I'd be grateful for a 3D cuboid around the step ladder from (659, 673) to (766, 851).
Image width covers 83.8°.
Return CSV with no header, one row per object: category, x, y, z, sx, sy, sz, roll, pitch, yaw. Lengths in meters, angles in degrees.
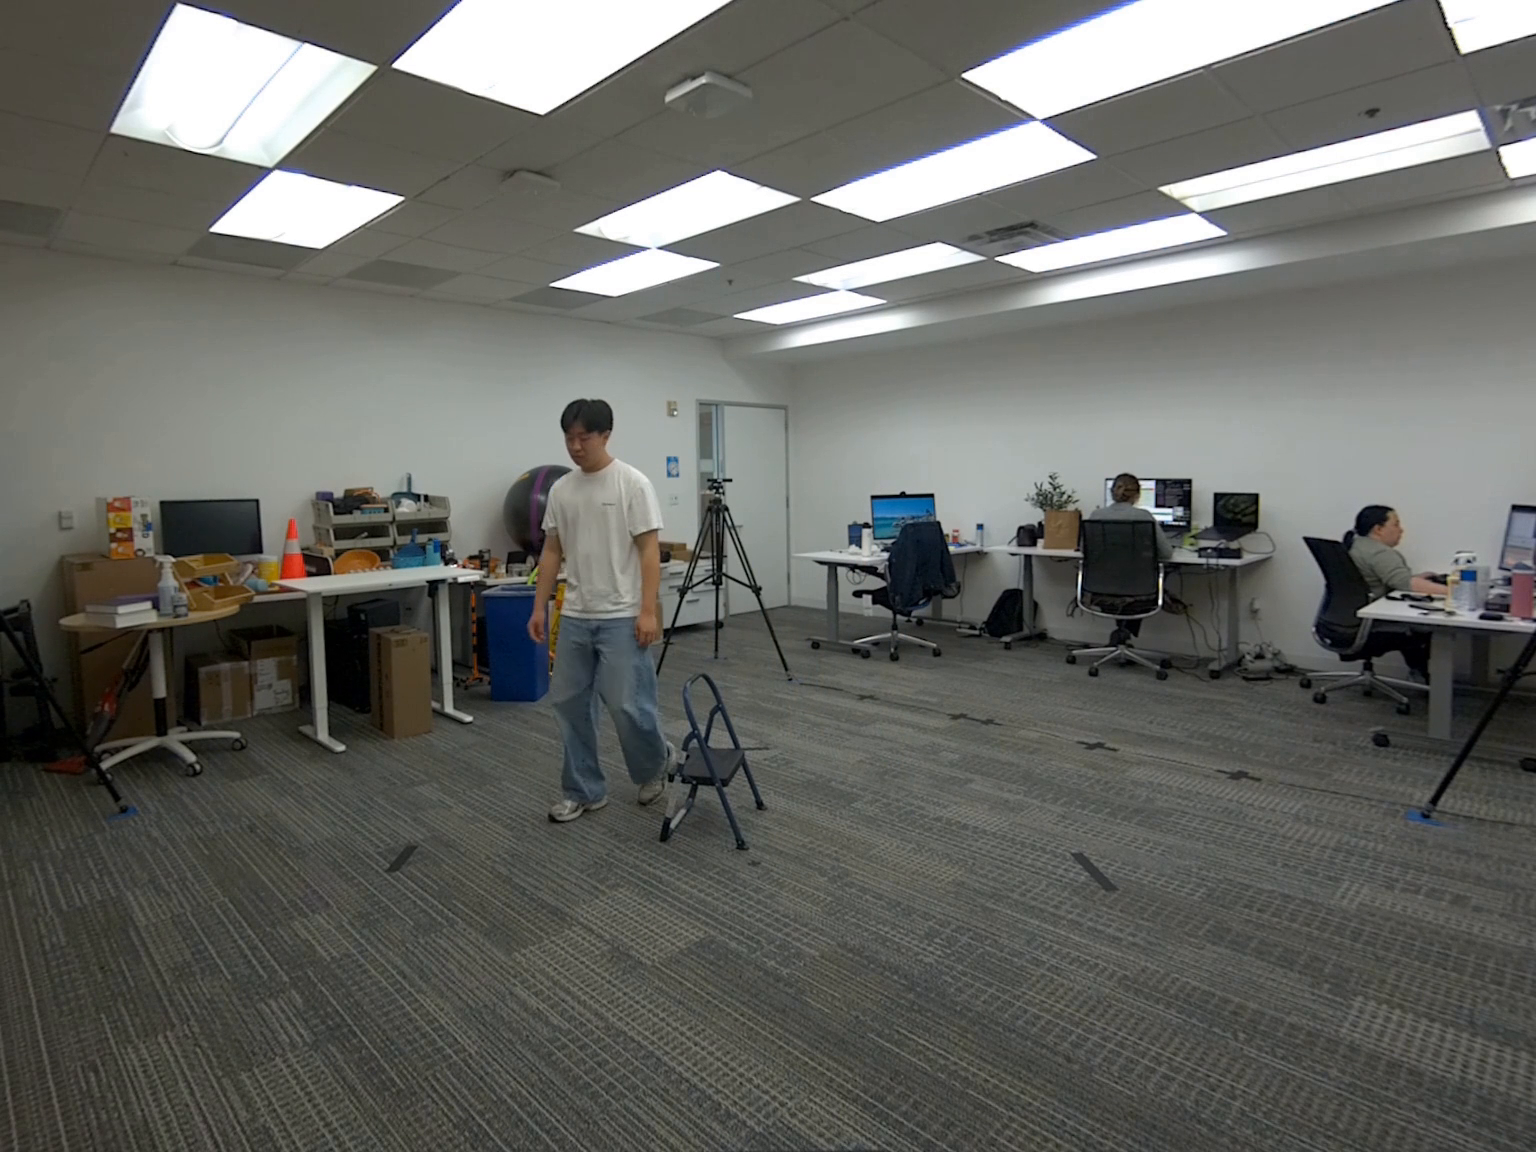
step ladder,-0.222,0.707,3.443,0.353,0.604,0.427,0,4,11
